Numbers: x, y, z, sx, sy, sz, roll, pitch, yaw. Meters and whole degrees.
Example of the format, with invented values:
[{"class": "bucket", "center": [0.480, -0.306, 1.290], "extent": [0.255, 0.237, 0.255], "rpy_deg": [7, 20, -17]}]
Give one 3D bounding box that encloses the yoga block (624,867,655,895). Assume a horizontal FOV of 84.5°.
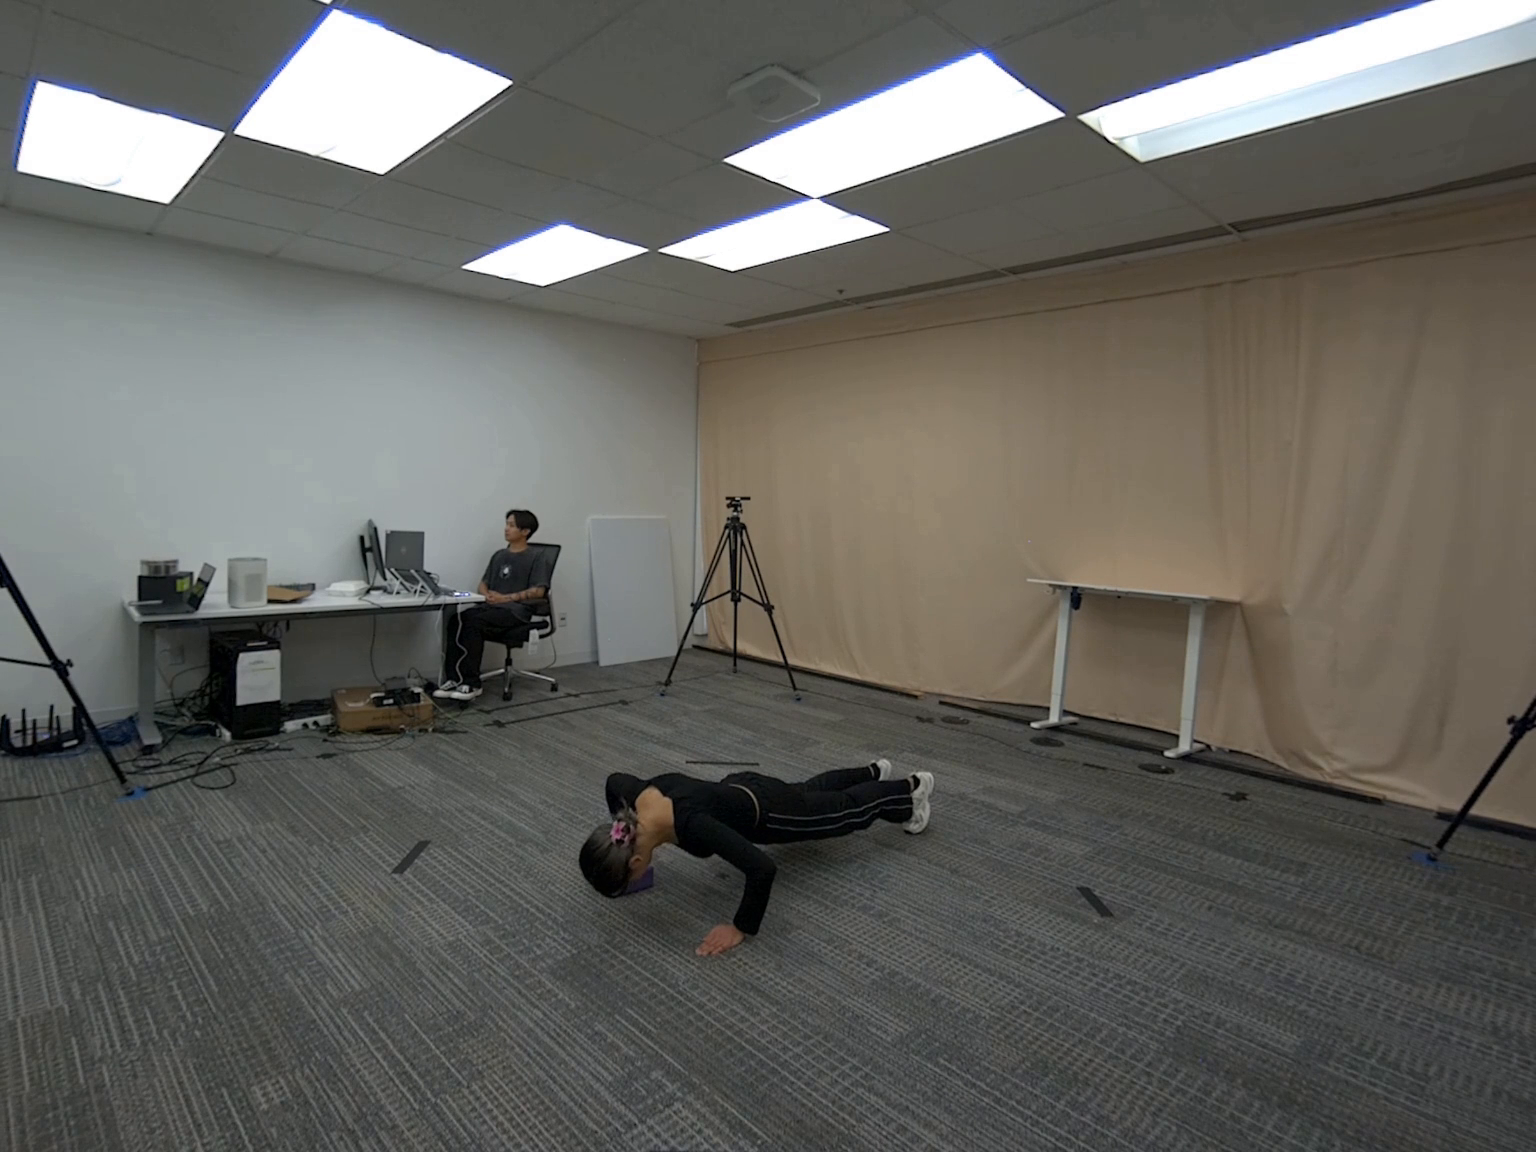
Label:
[{"class": "yoga block", "center": [-0.531, 1.065, 3.053], "extent": [0.146, 0.076, 0.235], "rpy_deg": [-3, 7, -39]}]
